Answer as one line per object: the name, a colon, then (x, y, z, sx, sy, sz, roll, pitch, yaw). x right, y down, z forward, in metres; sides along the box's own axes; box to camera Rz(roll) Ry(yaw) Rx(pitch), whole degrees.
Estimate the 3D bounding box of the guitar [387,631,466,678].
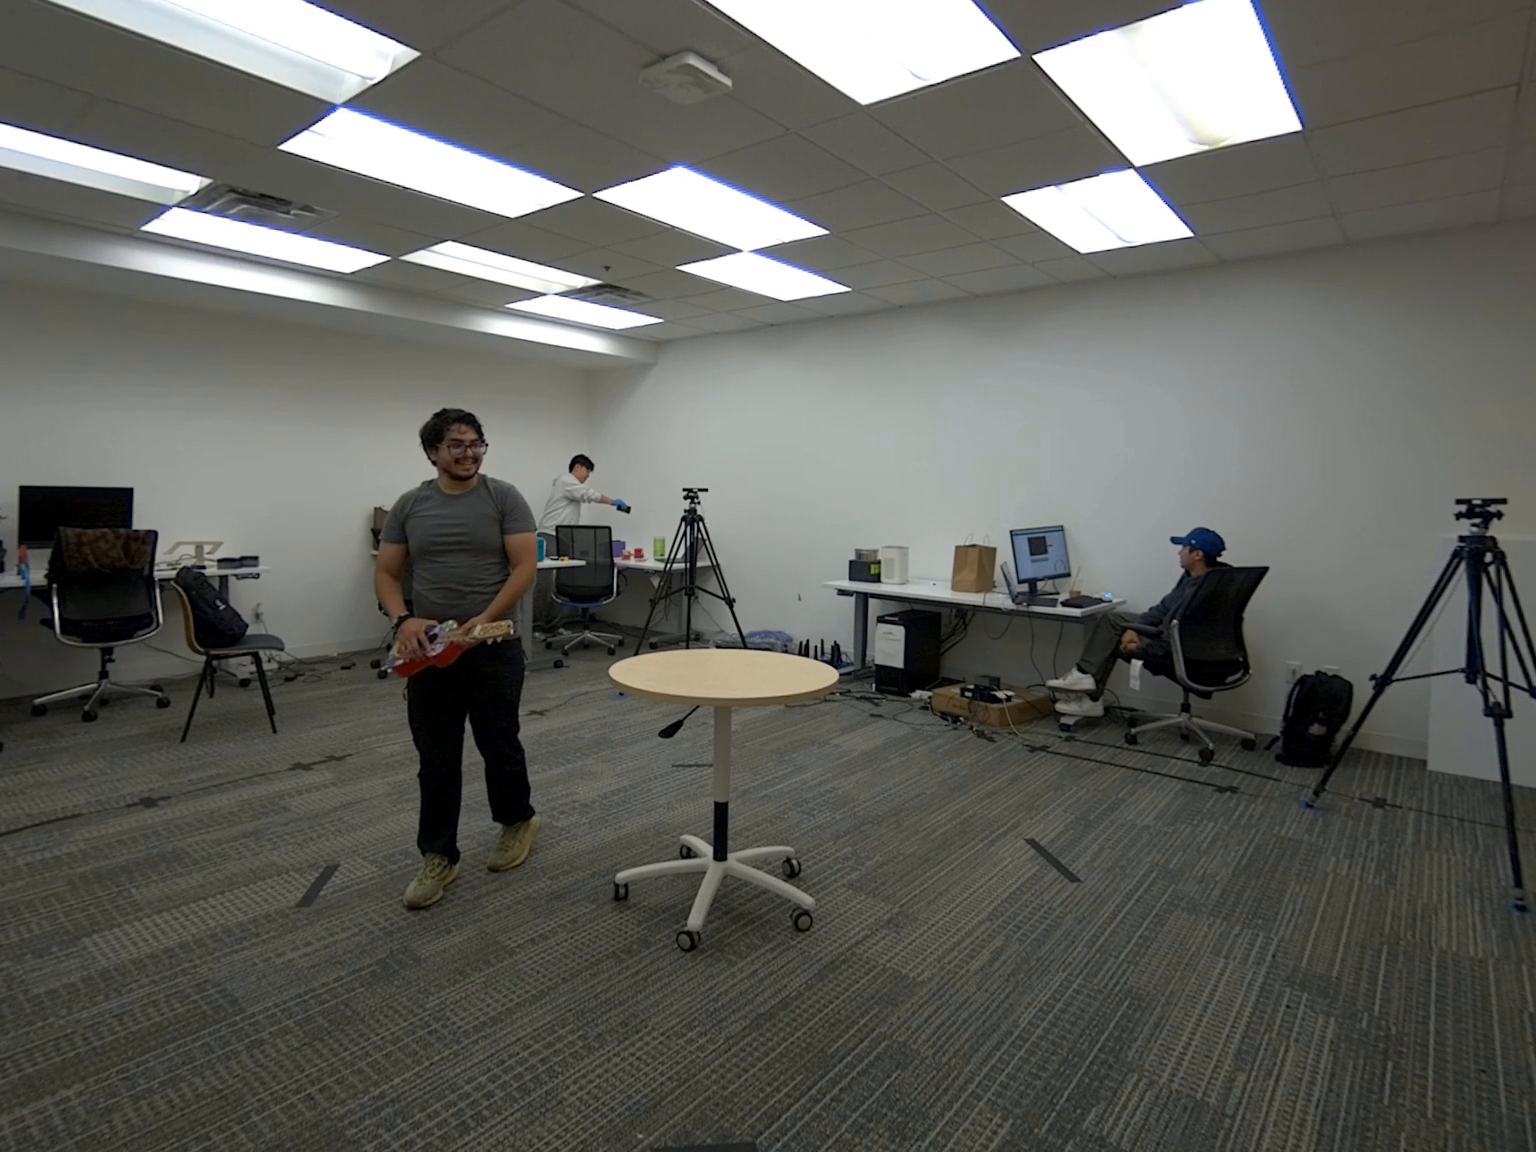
guitar: (-1.026, 0.227, 2.703, 0.511, 0.195, 0.068, -2, -42, 31)
